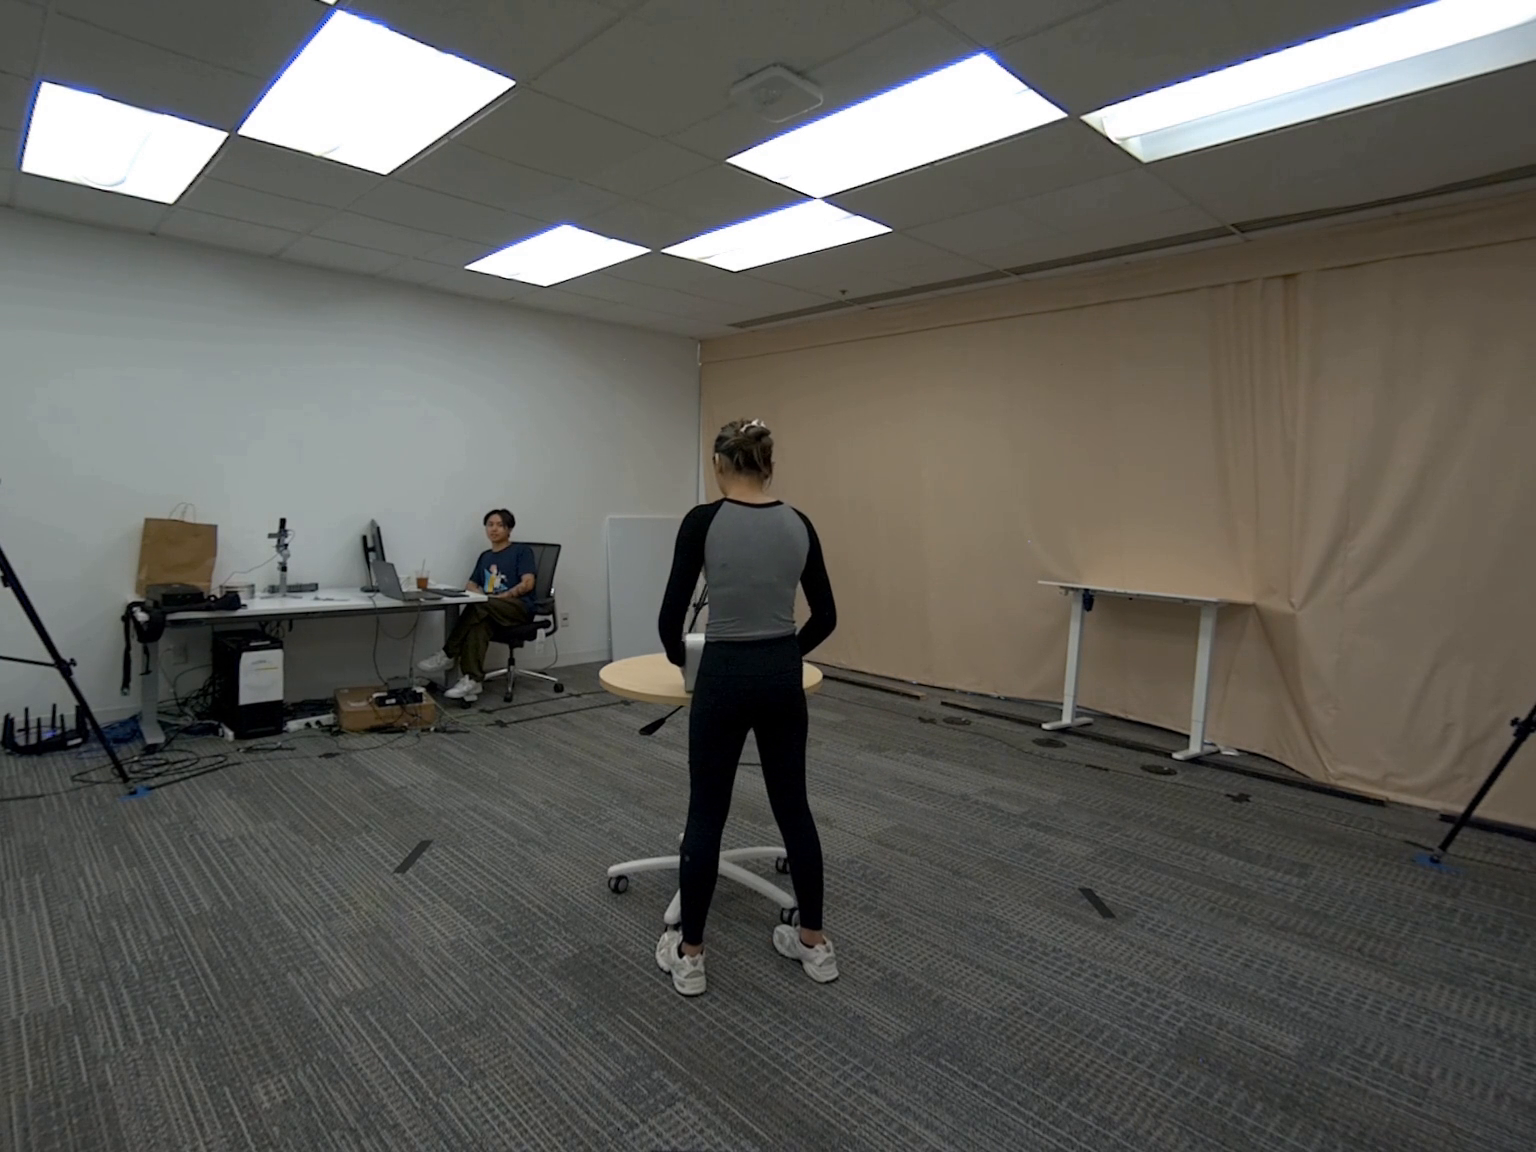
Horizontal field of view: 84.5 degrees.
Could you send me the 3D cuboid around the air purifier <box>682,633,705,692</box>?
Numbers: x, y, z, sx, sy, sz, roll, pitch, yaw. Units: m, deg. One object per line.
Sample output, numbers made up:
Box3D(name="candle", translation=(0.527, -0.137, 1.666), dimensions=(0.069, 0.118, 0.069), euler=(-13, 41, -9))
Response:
Box3D(name="air purifier", translation=(-0.141, 0.273, 2.637), dimensions=(0.265, 0.171, 0.172), euler=(2, 4, -3))
